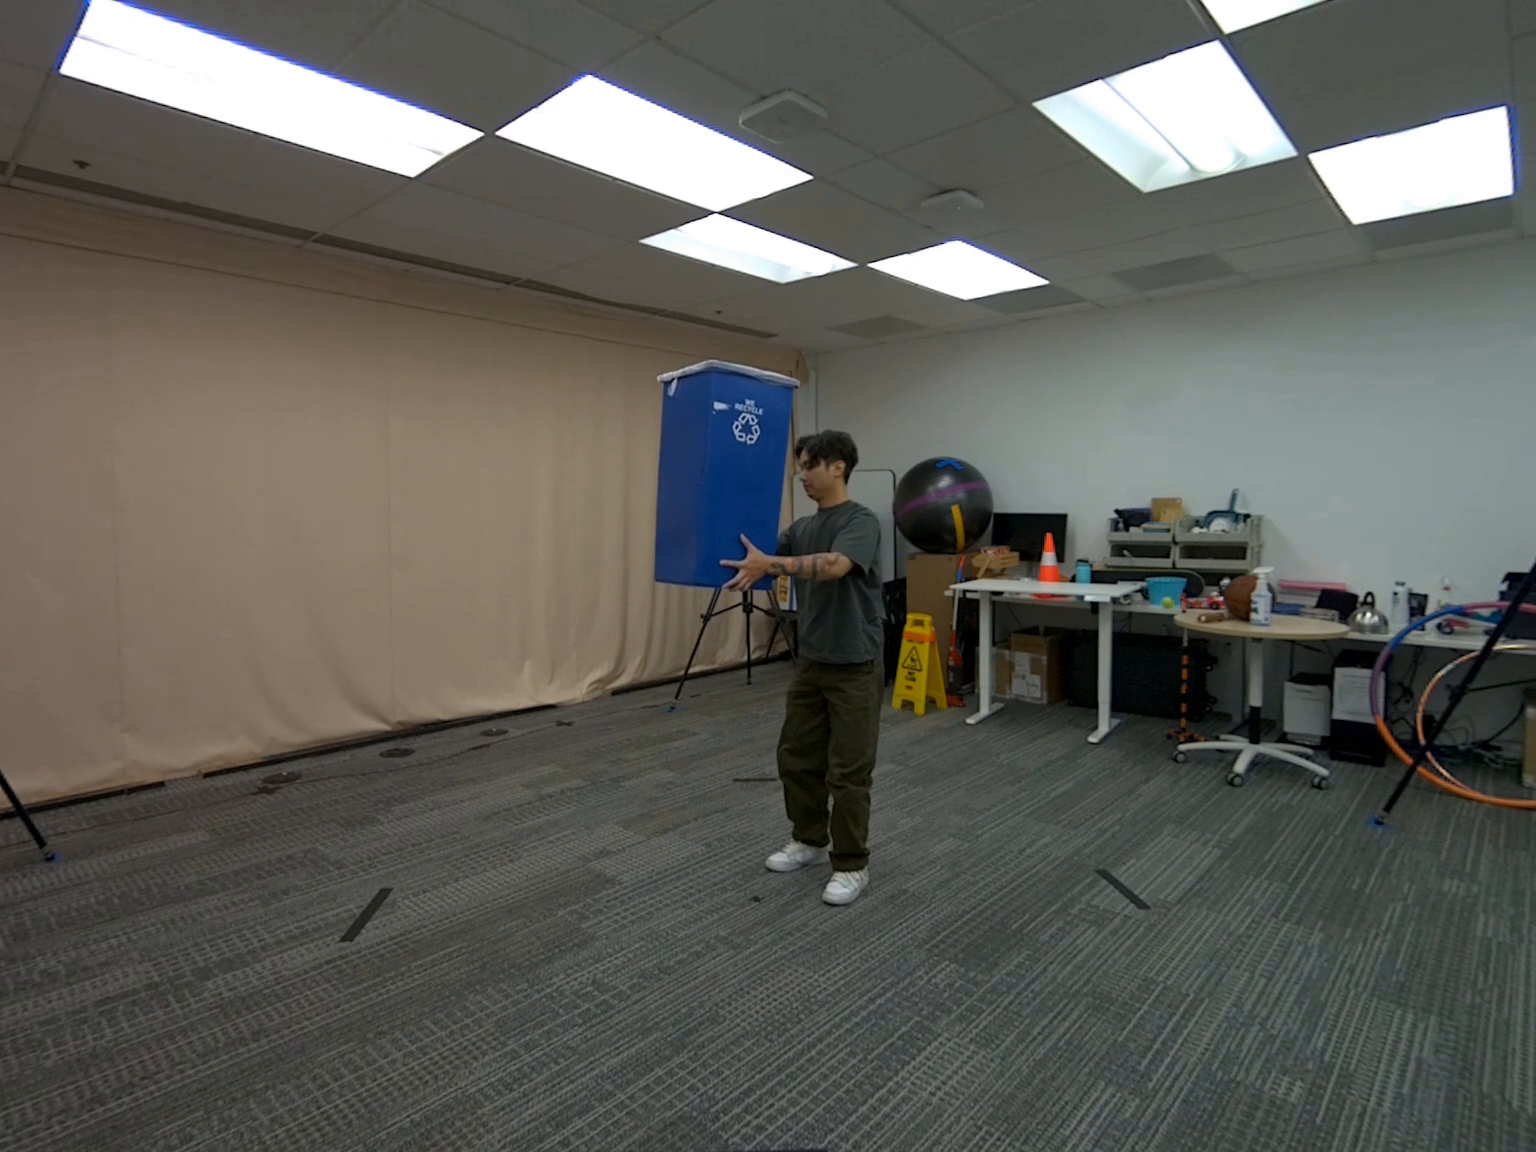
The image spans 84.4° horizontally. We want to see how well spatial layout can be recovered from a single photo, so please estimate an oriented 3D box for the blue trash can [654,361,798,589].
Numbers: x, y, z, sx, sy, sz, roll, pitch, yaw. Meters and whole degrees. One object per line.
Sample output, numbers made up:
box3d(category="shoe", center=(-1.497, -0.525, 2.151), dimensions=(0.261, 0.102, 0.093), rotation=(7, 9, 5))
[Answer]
box3d(category="blue trash can", center=(-0.152, -0.326, 2.864), dimensions=(0.366, 0.714, 0.385), rotation=(5, -1, -35))
